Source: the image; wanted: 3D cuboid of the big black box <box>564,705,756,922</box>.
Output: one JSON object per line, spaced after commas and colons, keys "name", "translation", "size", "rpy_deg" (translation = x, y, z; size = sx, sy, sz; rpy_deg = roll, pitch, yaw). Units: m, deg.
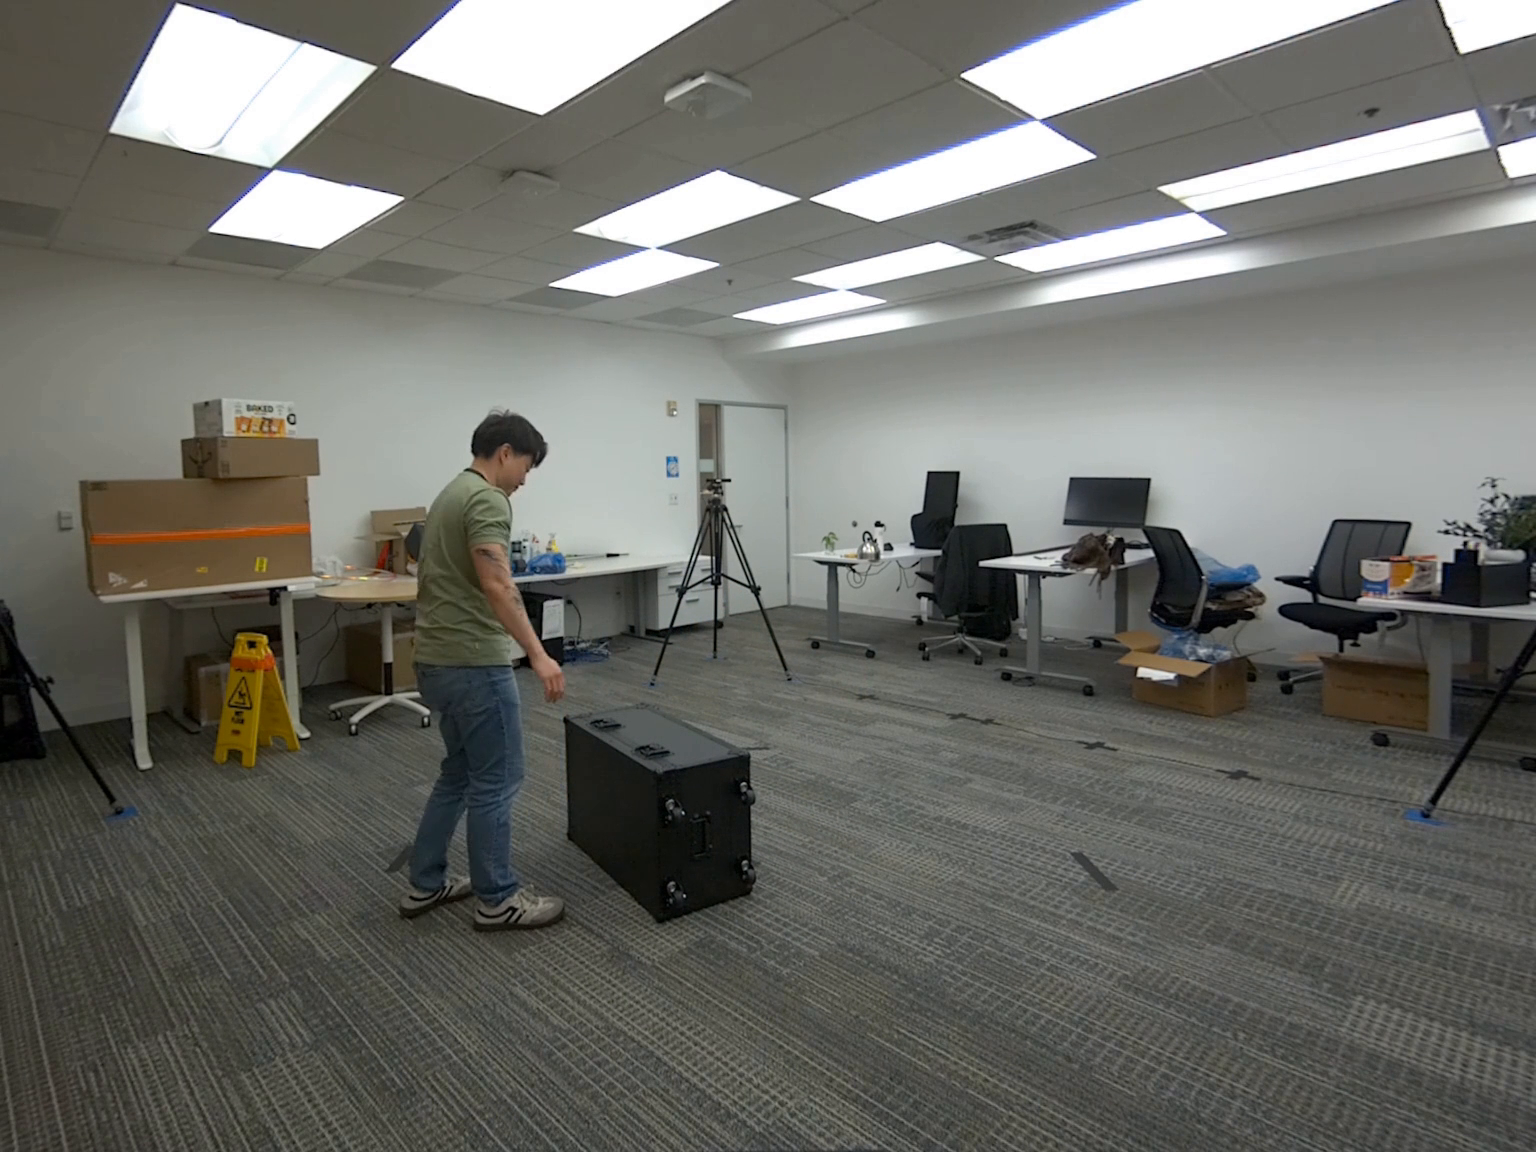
{"name": "big black box", "translation": [-0.392, 0.812, 3.079], "size": [0.387, 0.519, 0.887], "rpy_deg": [-4, 7, -33]}
